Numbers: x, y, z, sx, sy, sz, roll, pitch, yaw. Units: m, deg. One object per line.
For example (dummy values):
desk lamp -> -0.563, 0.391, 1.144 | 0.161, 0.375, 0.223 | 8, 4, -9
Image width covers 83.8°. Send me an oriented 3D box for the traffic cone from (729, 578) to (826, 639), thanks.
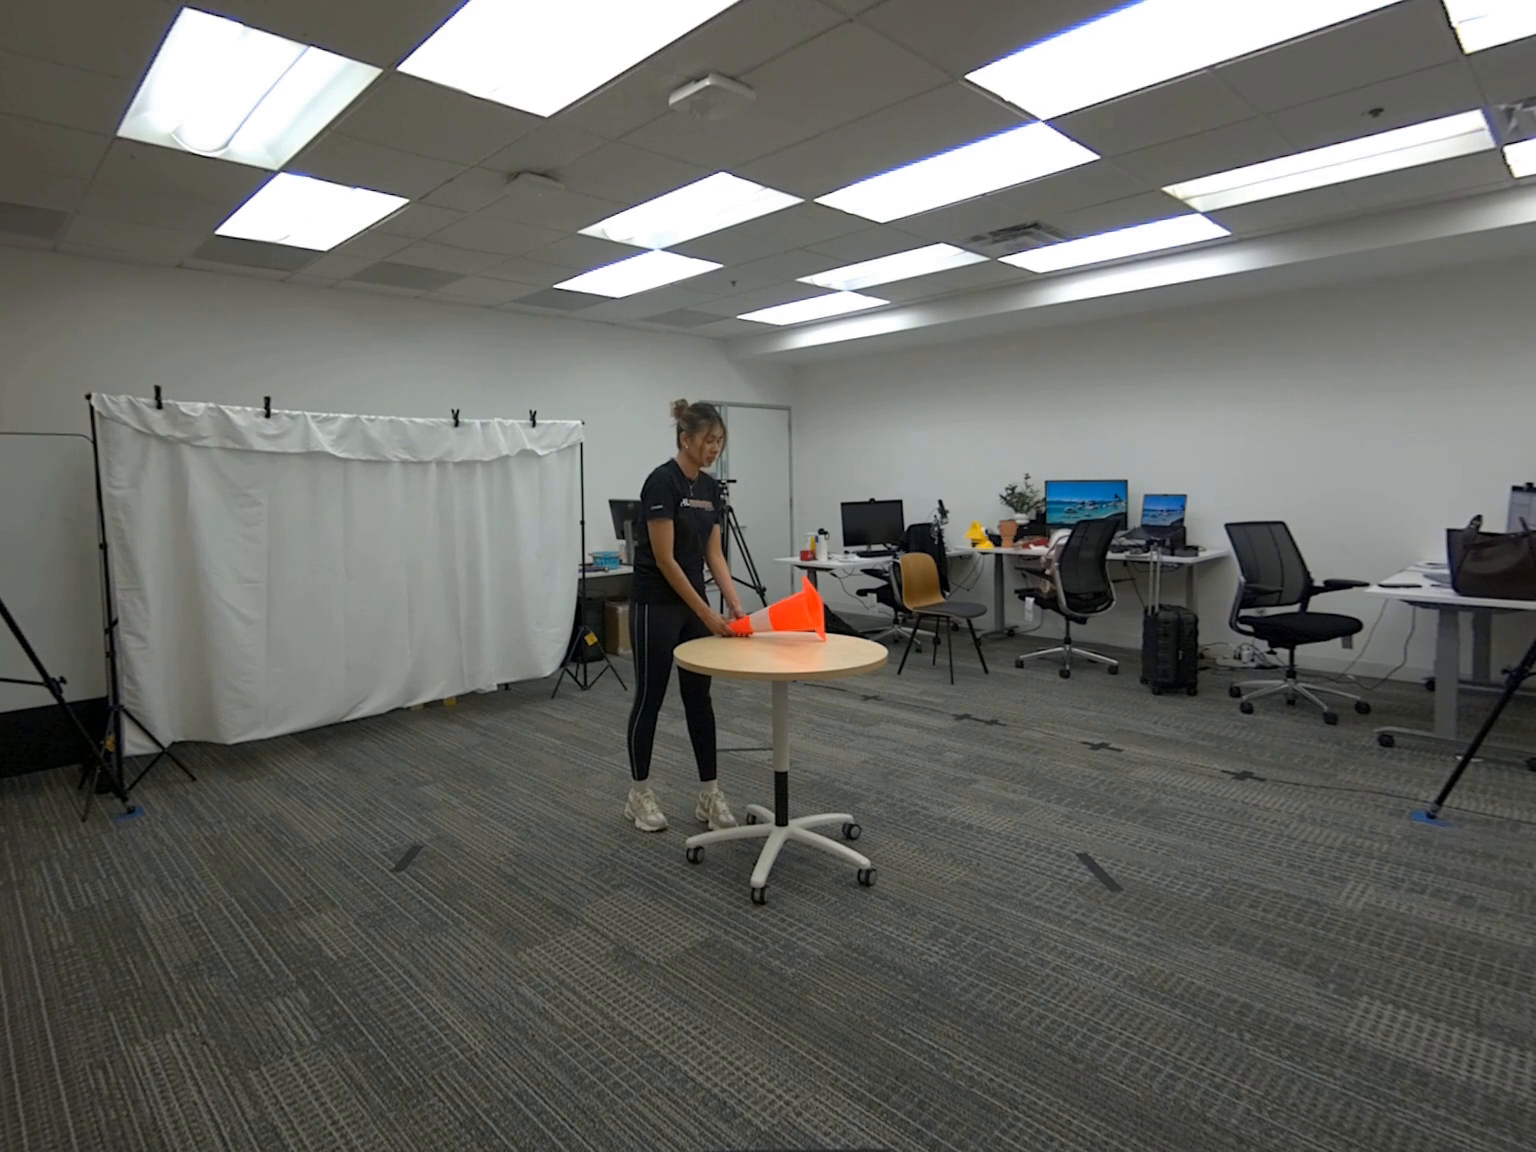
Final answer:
traffic cone -> 0.007, 0.176, 3.289 | 0.388, 0.209, 0.197 | -18, -34, 19
